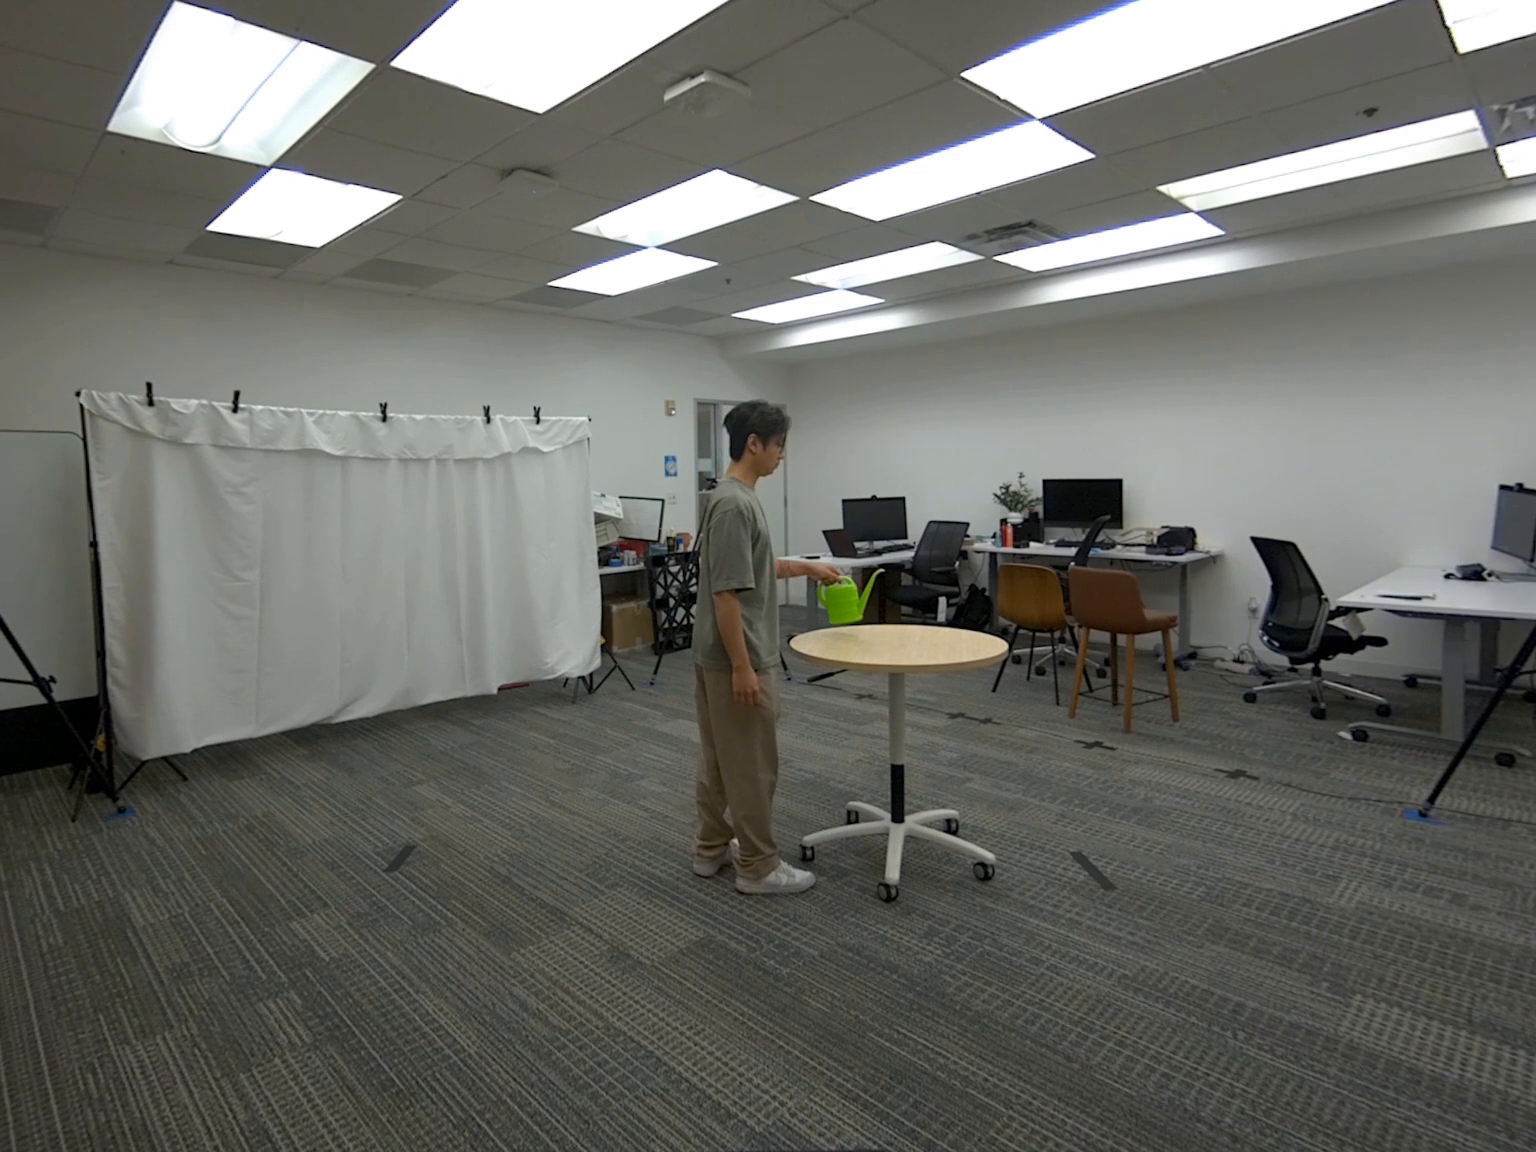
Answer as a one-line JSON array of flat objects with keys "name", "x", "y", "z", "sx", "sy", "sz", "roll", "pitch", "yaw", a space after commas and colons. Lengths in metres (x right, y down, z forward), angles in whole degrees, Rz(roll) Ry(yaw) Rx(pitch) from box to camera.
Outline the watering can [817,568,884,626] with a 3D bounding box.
[{"name": "watering can", "x": 0.320, "y": 0.082, "z": 3.219, "sx": 0.285, "sy": 0.177, "sz": 0.096, "roll": -8, "pitch": 2, "yaw": 40}]
